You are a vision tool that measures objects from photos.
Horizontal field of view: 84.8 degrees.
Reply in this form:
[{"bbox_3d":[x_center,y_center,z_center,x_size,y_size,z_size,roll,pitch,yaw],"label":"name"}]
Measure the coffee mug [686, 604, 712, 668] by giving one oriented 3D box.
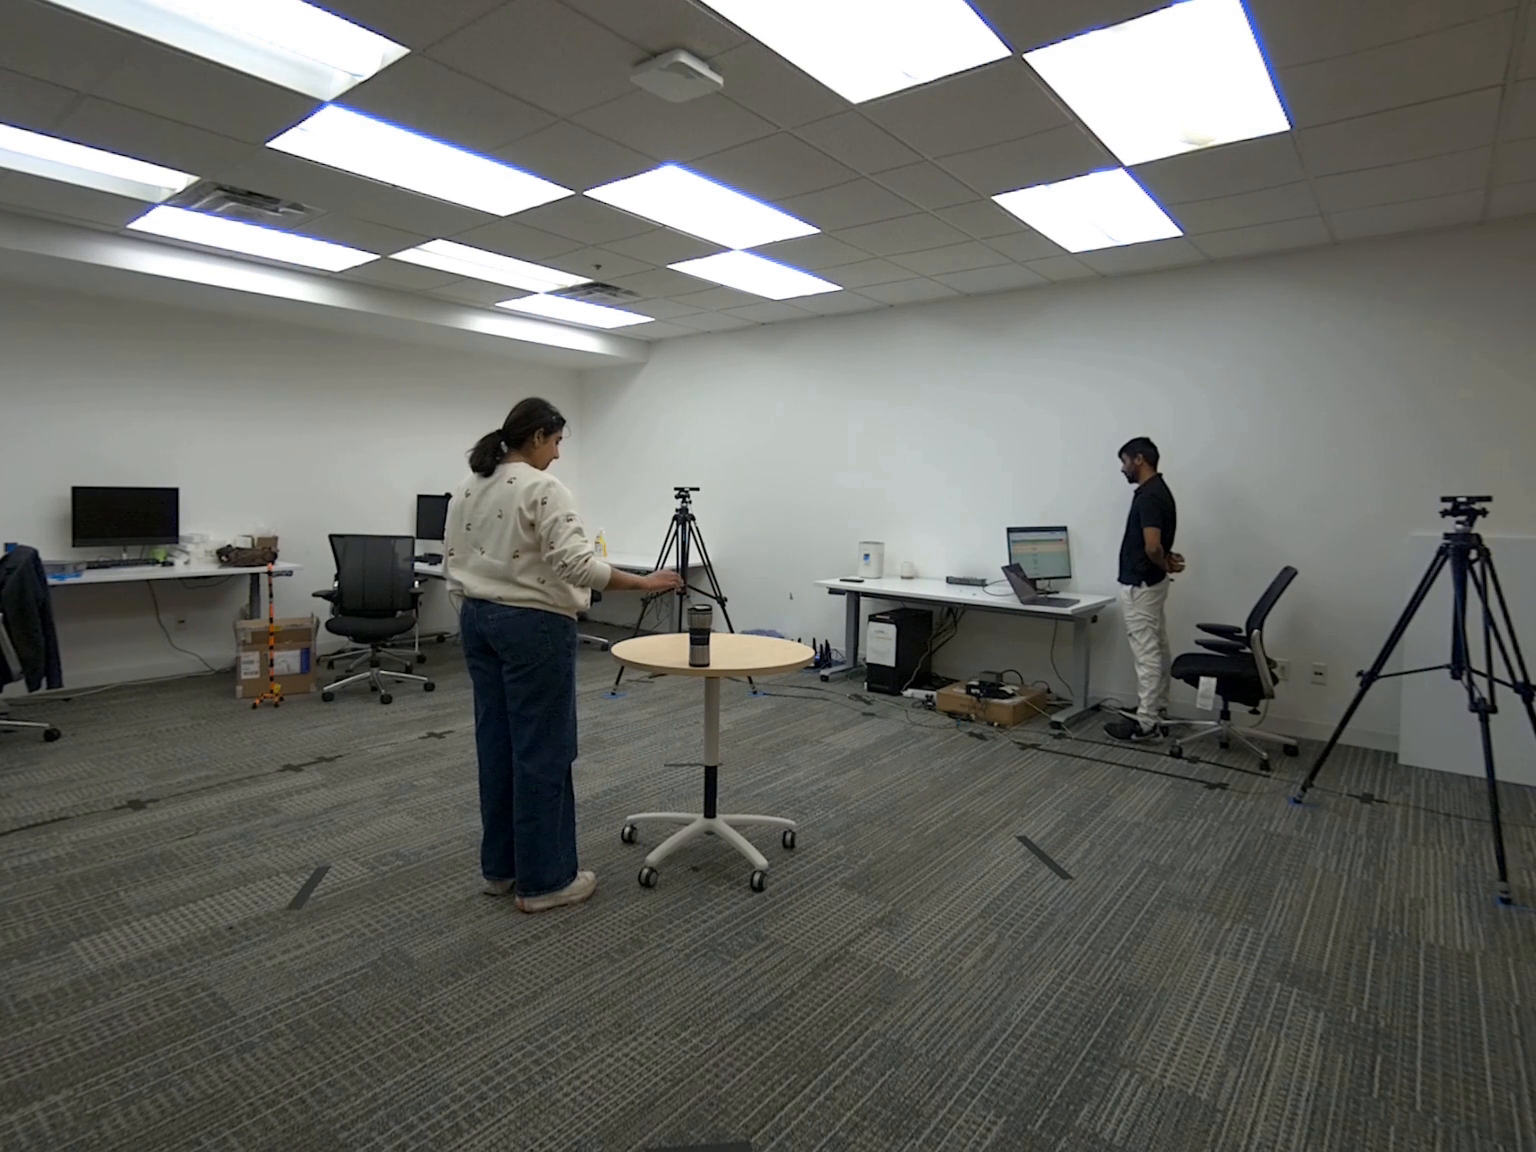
[{"bbox_3d":[-0.231,0.203,2.901,0.090,0.203,0.119,-2,2,31],"label":"coffee mug"}]
